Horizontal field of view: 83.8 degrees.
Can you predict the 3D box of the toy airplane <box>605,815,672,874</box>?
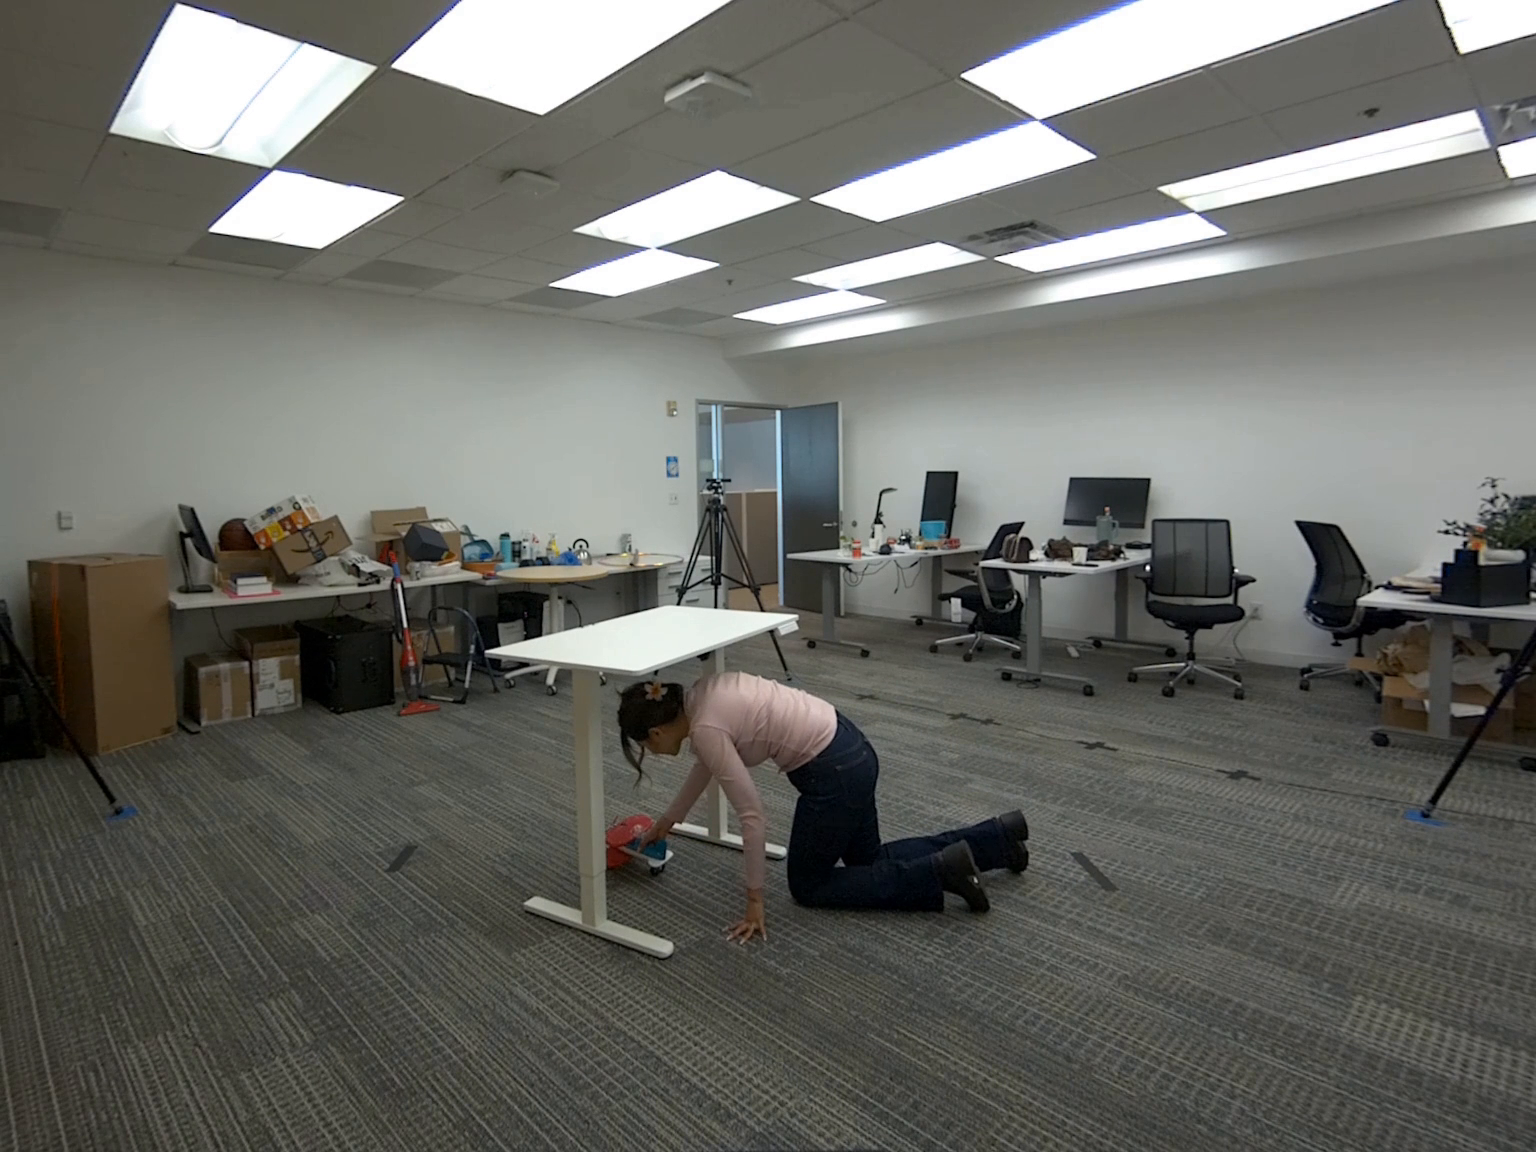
[{"bbox_3d":[-0.462,0.978,3.104,0.259,0.155,0.253,-2,6,-2],"label":"toy airplane"}]
